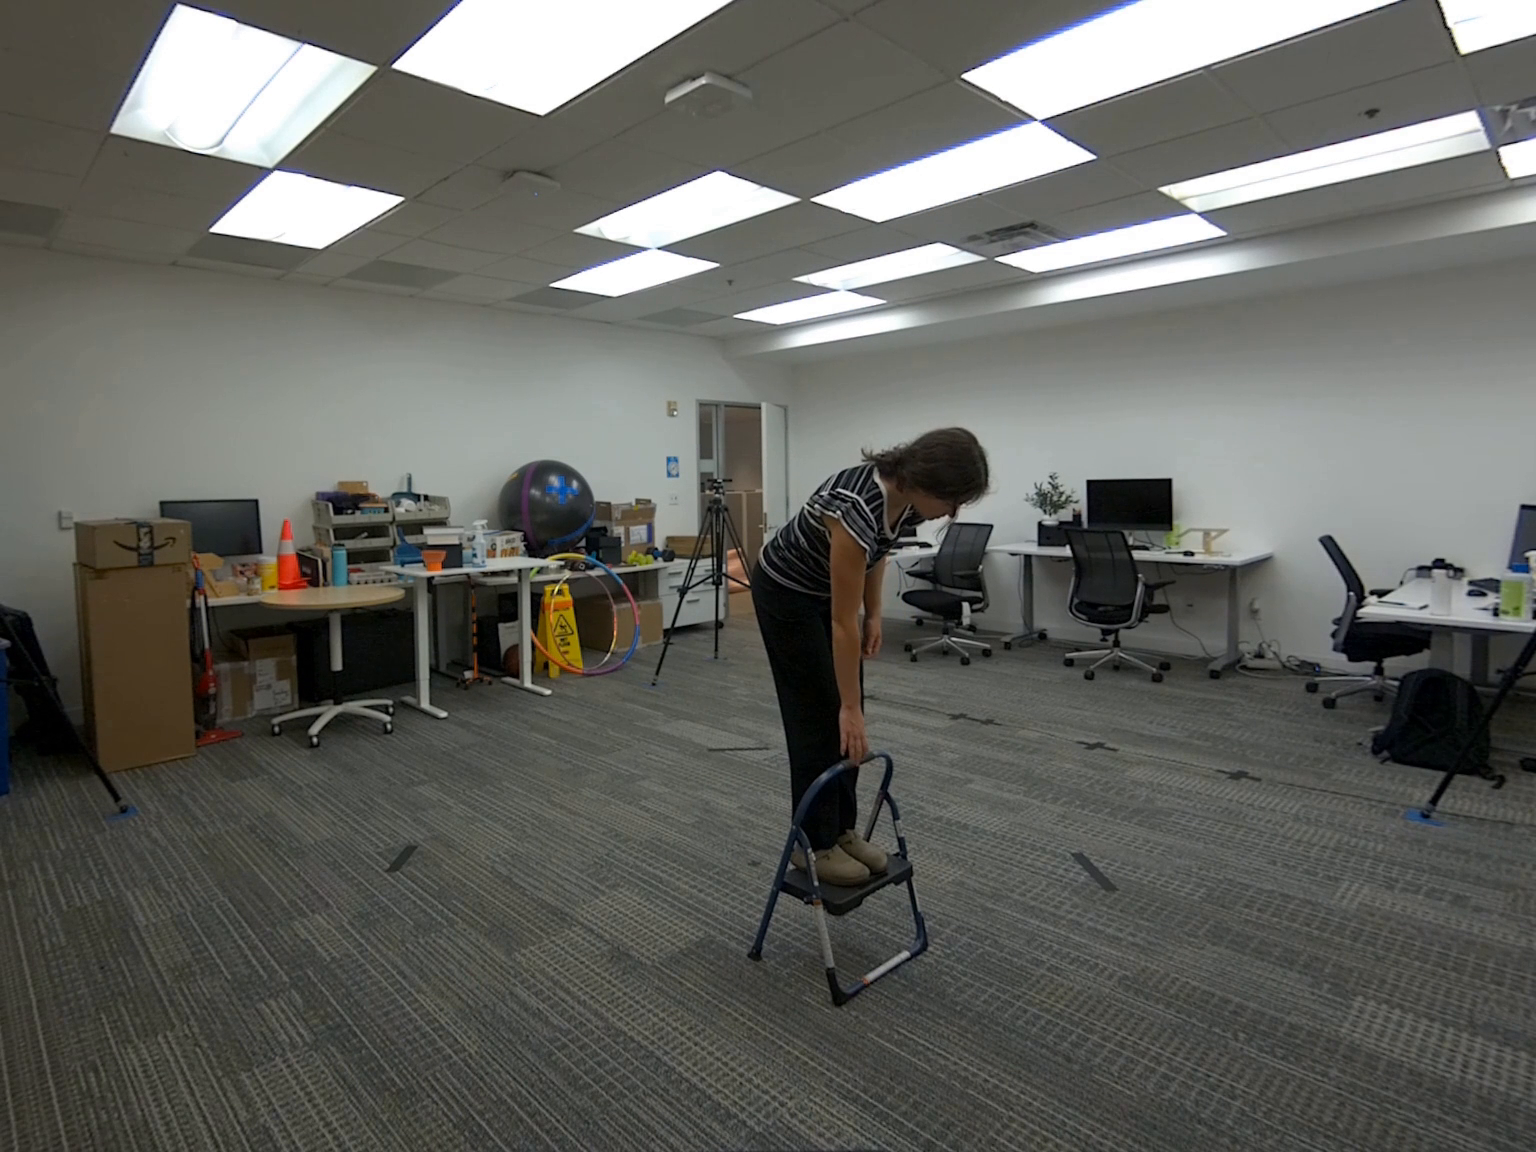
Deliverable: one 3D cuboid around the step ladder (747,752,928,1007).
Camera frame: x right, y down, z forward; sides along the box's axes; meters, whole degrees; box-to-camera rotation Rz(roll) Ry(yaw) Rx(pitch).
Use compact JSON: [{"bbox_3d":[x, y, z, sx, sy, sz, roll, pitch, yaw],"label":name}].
[{"bbox_3d":[0.210,0.809,2.495,0.419,0.603,0.360,-6,7,-44],"label":"step ladder"}]
